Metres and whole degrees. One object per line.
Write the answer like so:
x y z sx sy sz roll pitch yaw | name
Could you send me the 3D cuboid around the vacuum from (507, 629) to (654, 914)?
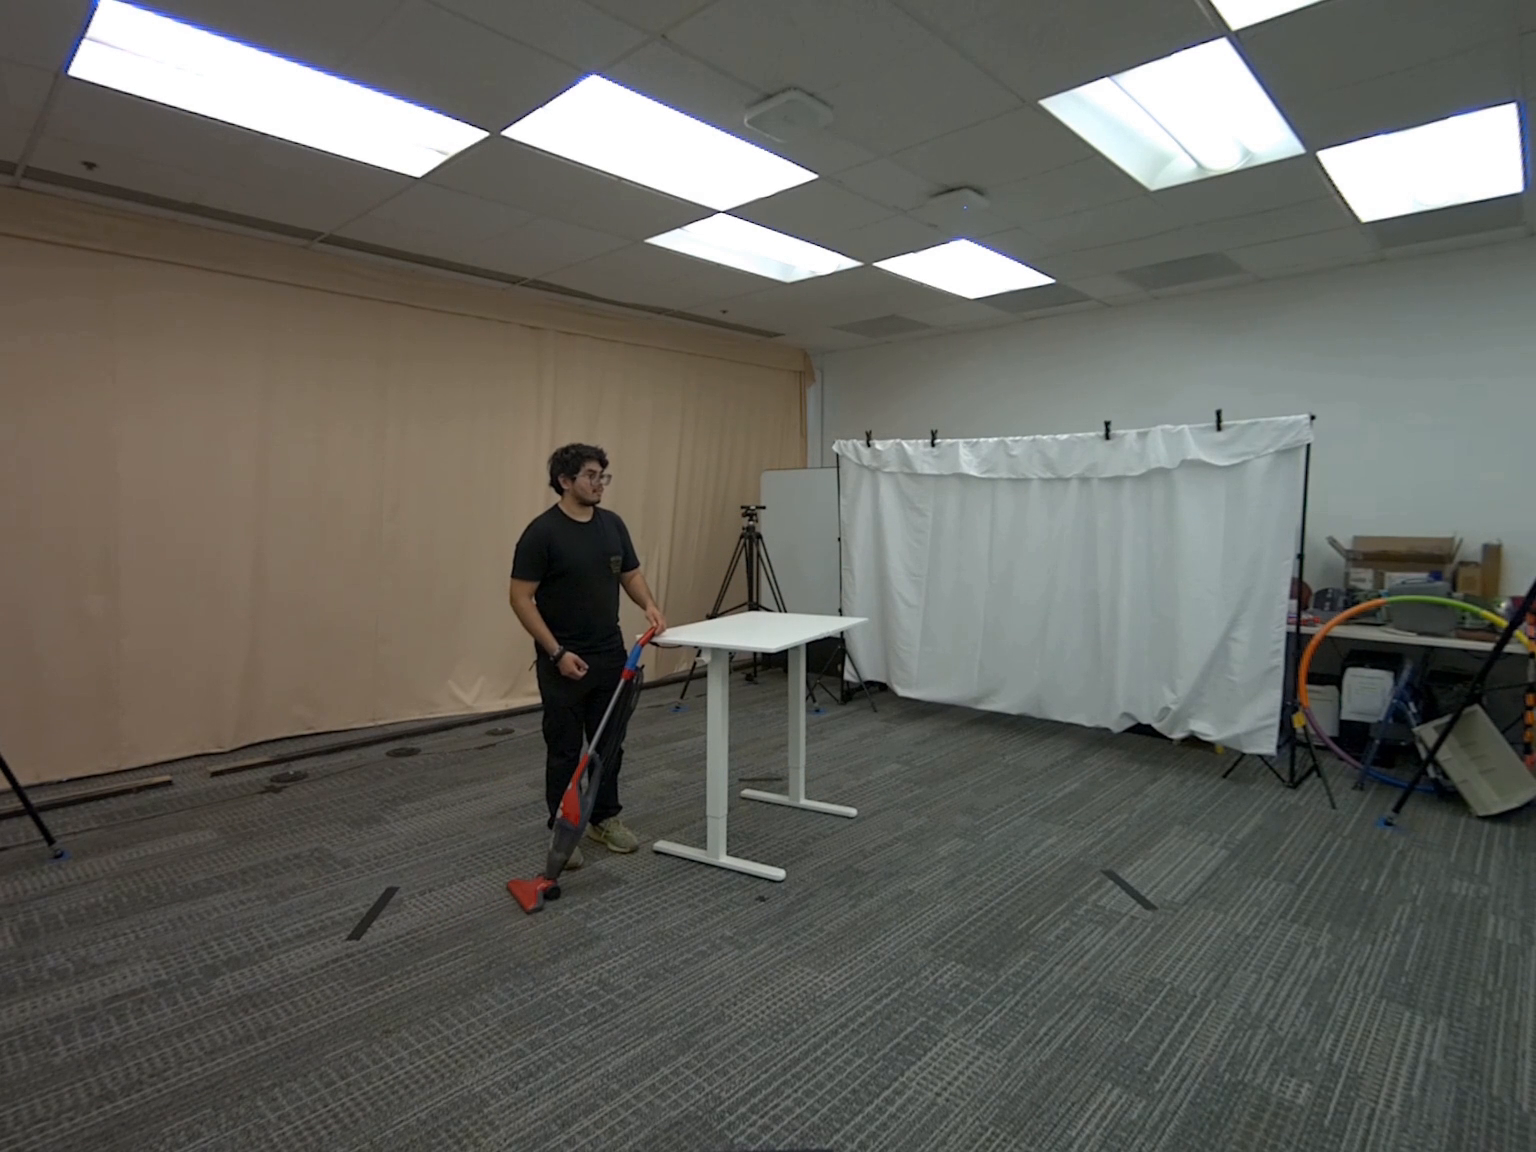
-0.624 0.671 3.132 0.261 1.051 0.139 9 -20 46 | vacuum
